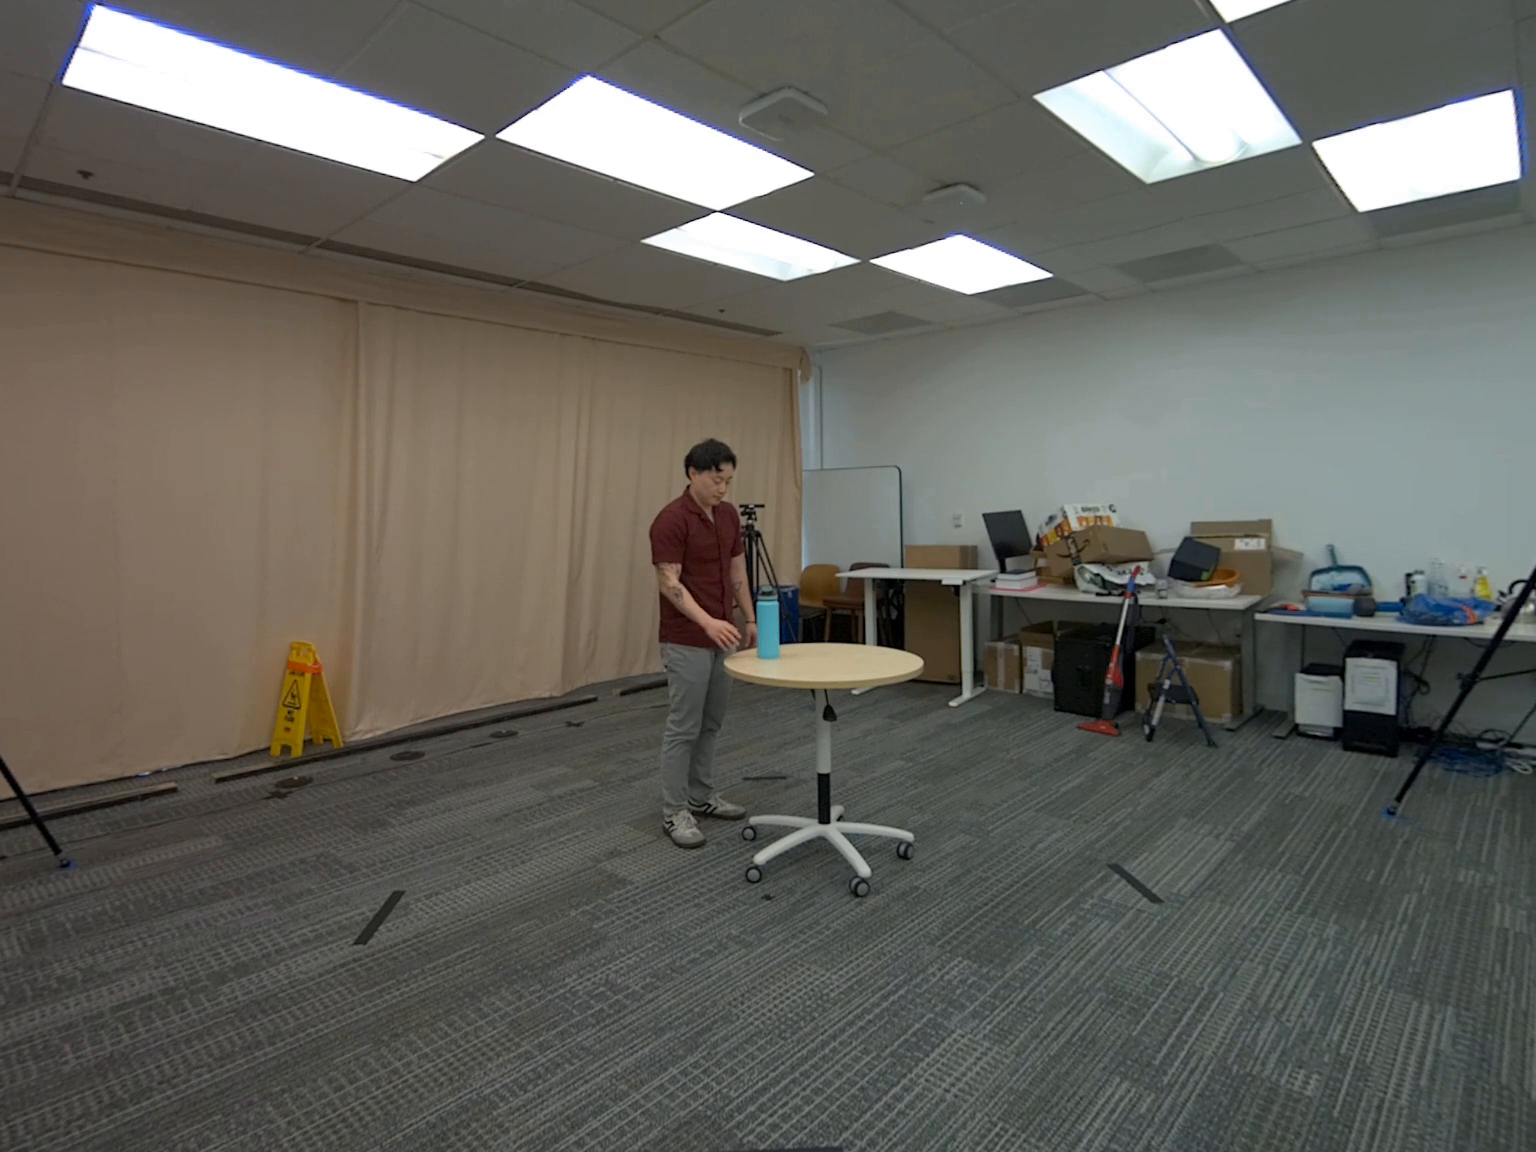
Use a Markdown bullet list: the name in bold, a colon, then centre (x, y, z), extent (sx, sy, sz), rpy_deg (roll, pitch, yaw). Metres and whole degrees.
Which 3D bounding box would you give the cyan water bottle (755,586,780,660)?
- **cyan water bottle**: centre (0.002, 0.183, 3.356), extent (0.092, 0.282, 0.093), rpy_deg (-2, 4, -2)
